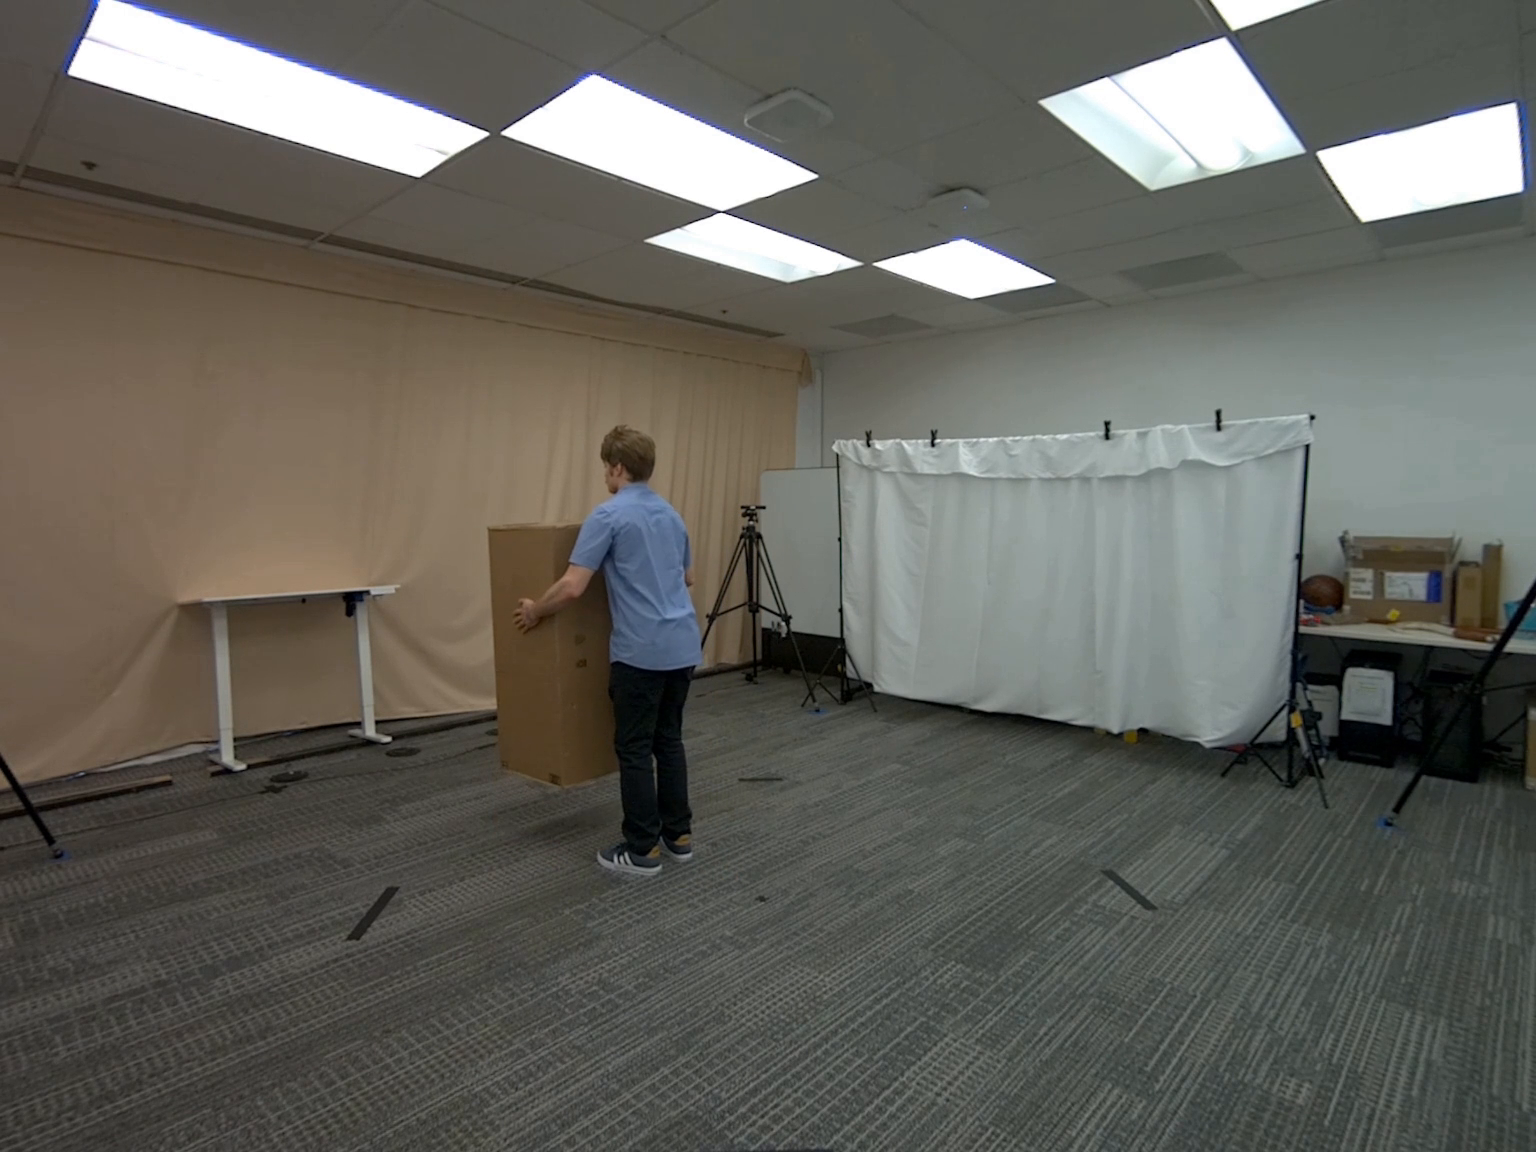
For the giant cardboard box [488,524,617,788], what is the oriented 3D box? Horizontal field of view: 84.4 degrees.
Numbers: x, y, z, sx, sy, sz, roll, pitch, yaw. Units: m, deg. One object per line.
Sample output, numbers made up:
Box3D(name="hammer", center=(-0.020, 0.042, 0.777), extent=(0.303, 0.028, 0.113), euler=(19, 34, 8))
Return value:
Box3D(name="giant cardboard box", center=(-0.799, 0.293, 3.559), extent=(0.440, 1.023, 0.560), euler=(2, 5, 40))
